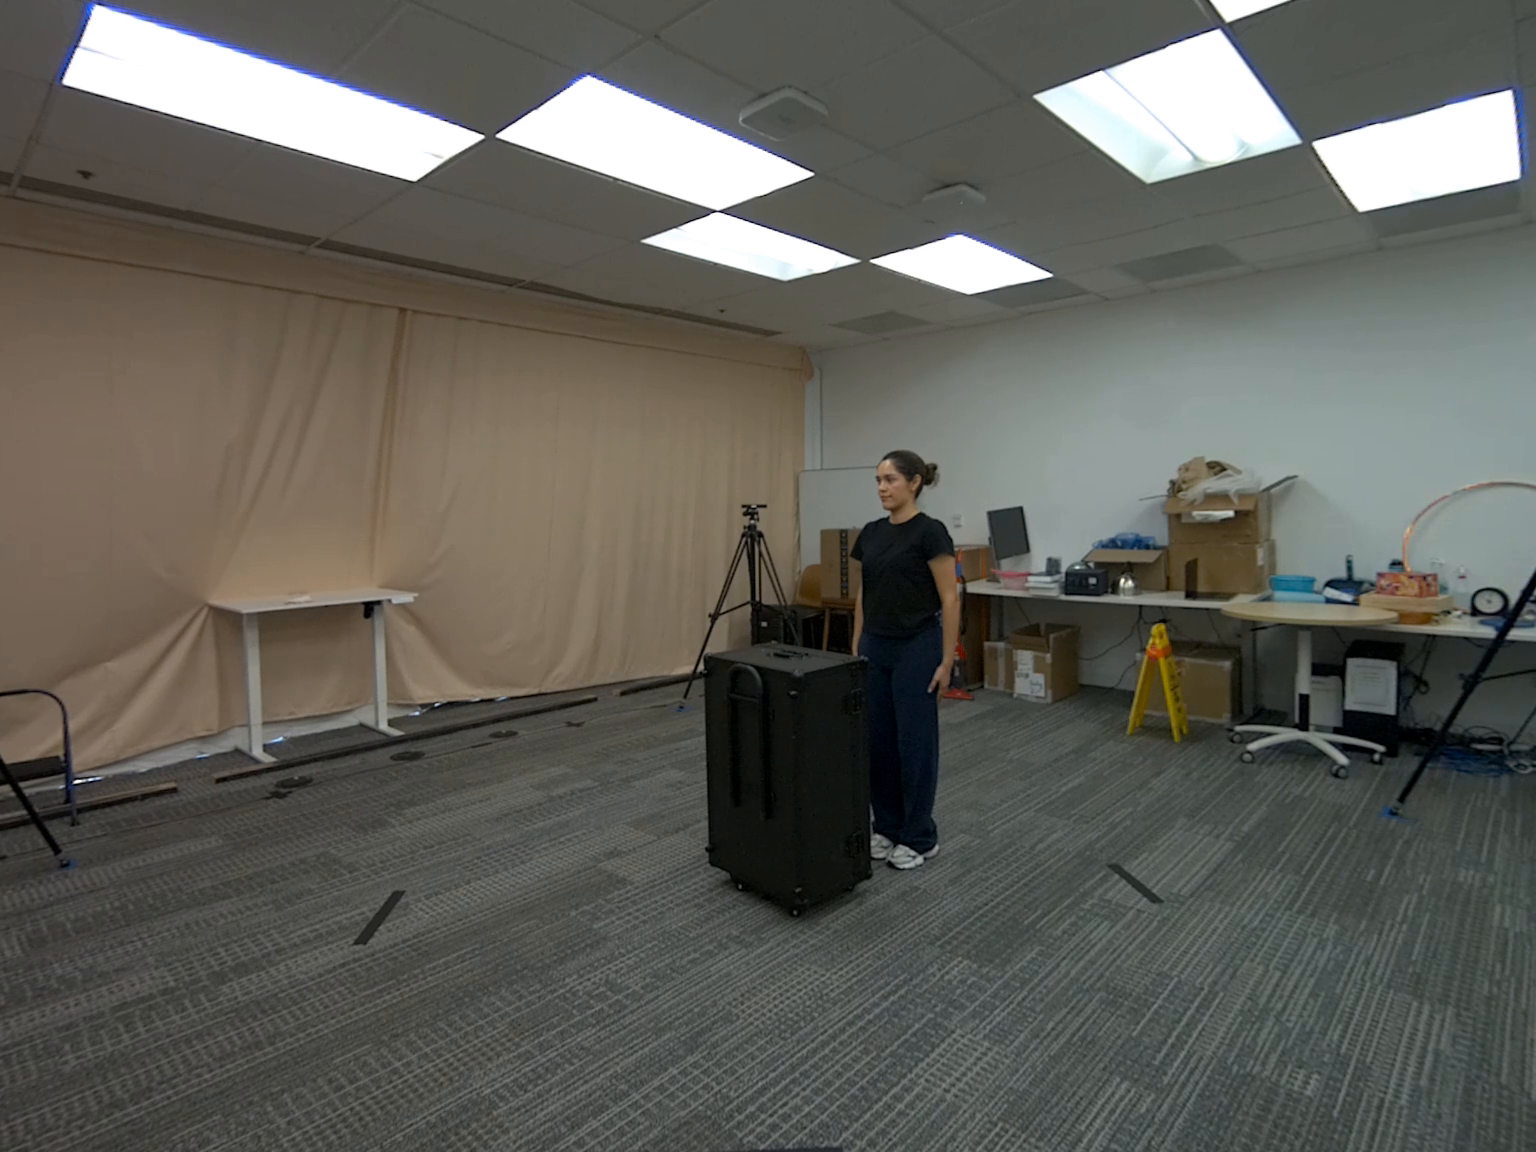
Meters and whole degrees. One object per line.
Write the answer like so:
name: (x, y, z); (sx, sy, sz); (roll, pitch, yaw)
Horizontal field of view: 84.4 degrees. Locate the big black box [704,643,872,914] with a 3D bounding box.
big black box: (0.078, 0.713, 3.007); (0.384, 0.859, 0.538); (-5, 6, -42)
